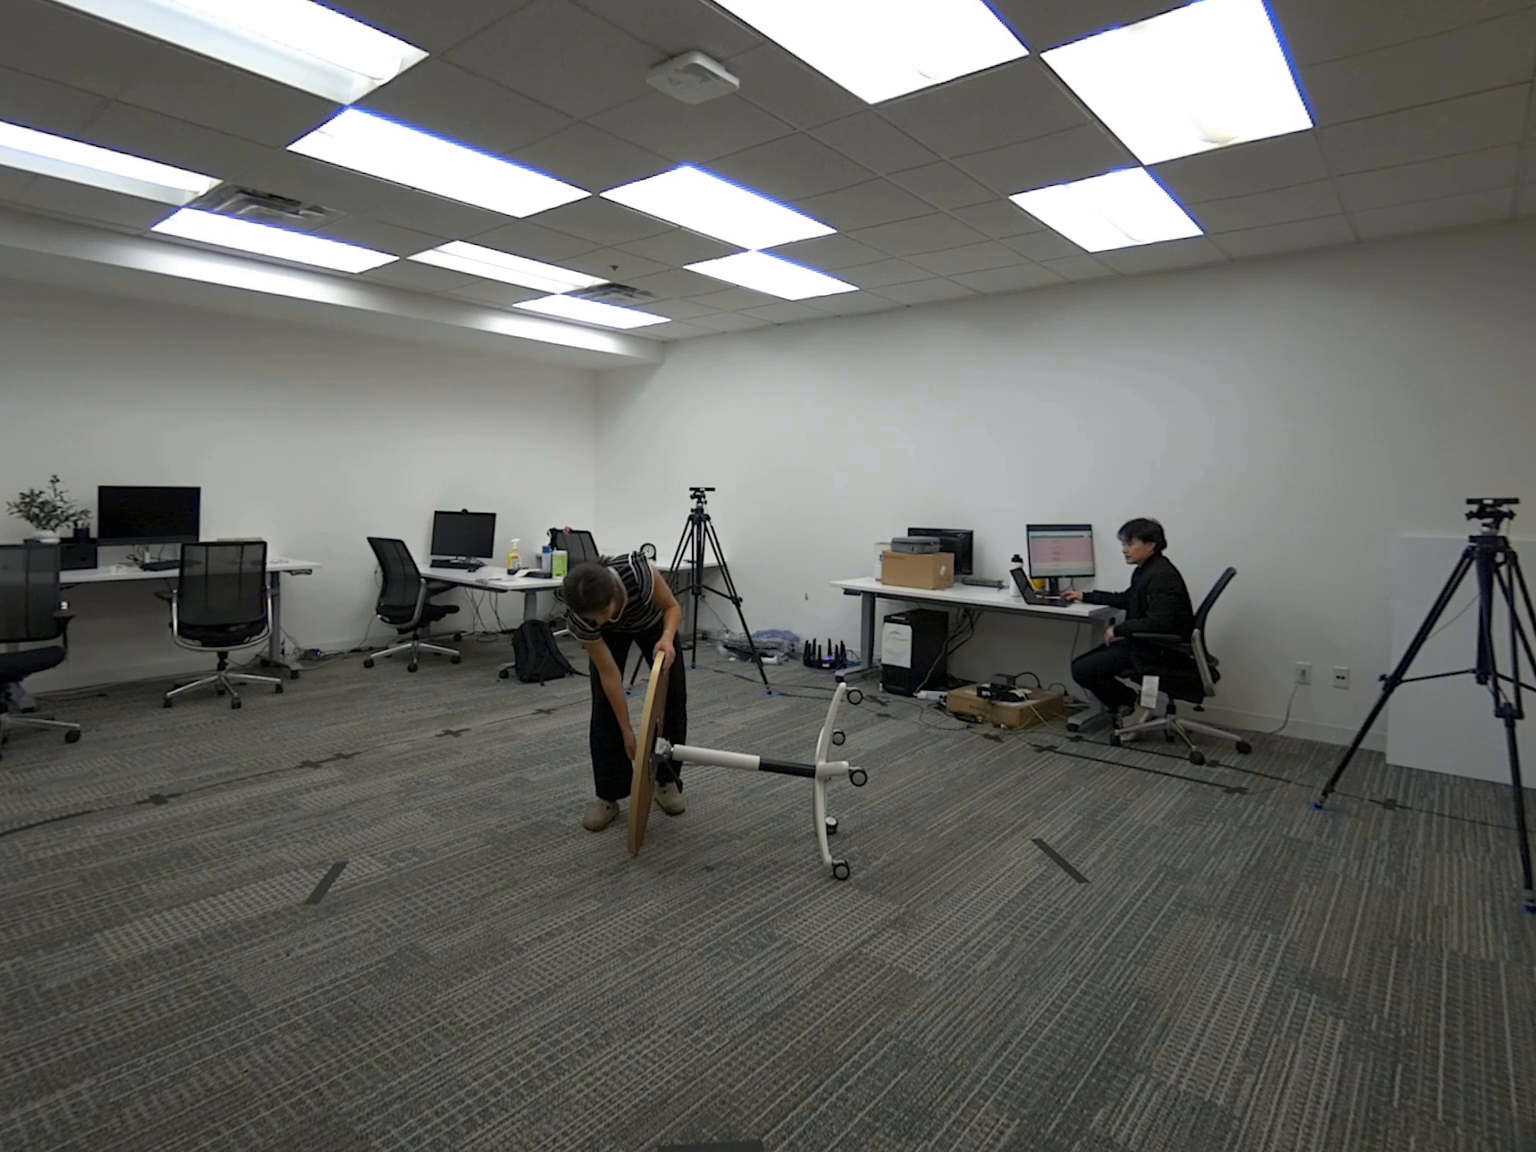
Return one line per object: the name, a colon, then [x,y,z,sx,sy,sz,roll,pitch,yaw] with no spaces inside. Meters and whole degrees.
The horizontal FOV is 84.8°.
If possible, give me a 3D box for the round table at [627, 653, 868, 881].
round table: [-0.077,0.716,3.272,0.788,0.783,0.786,8,4,0]
